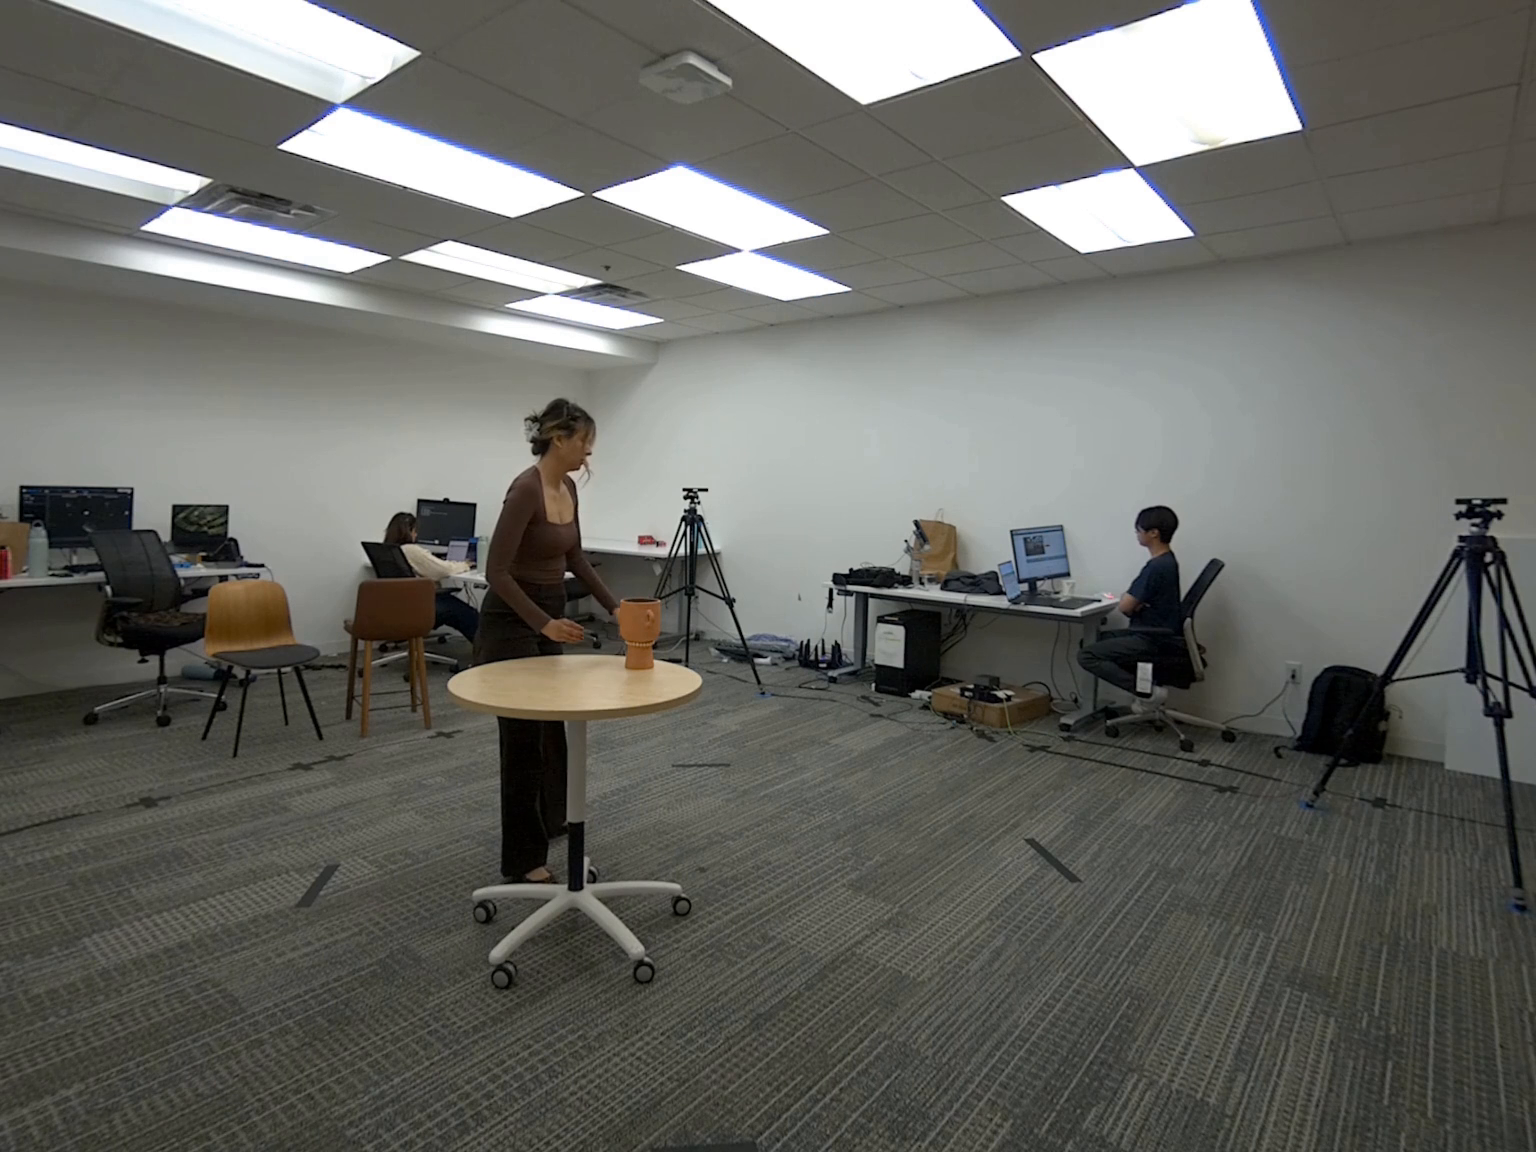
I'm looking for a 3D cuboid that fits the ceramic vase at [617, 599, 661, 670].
[{"bbox_3d":[-0.435,0.191,2.802,0.136,0.219,0.158,2,3,7],"label":"ceramic vase"}]
